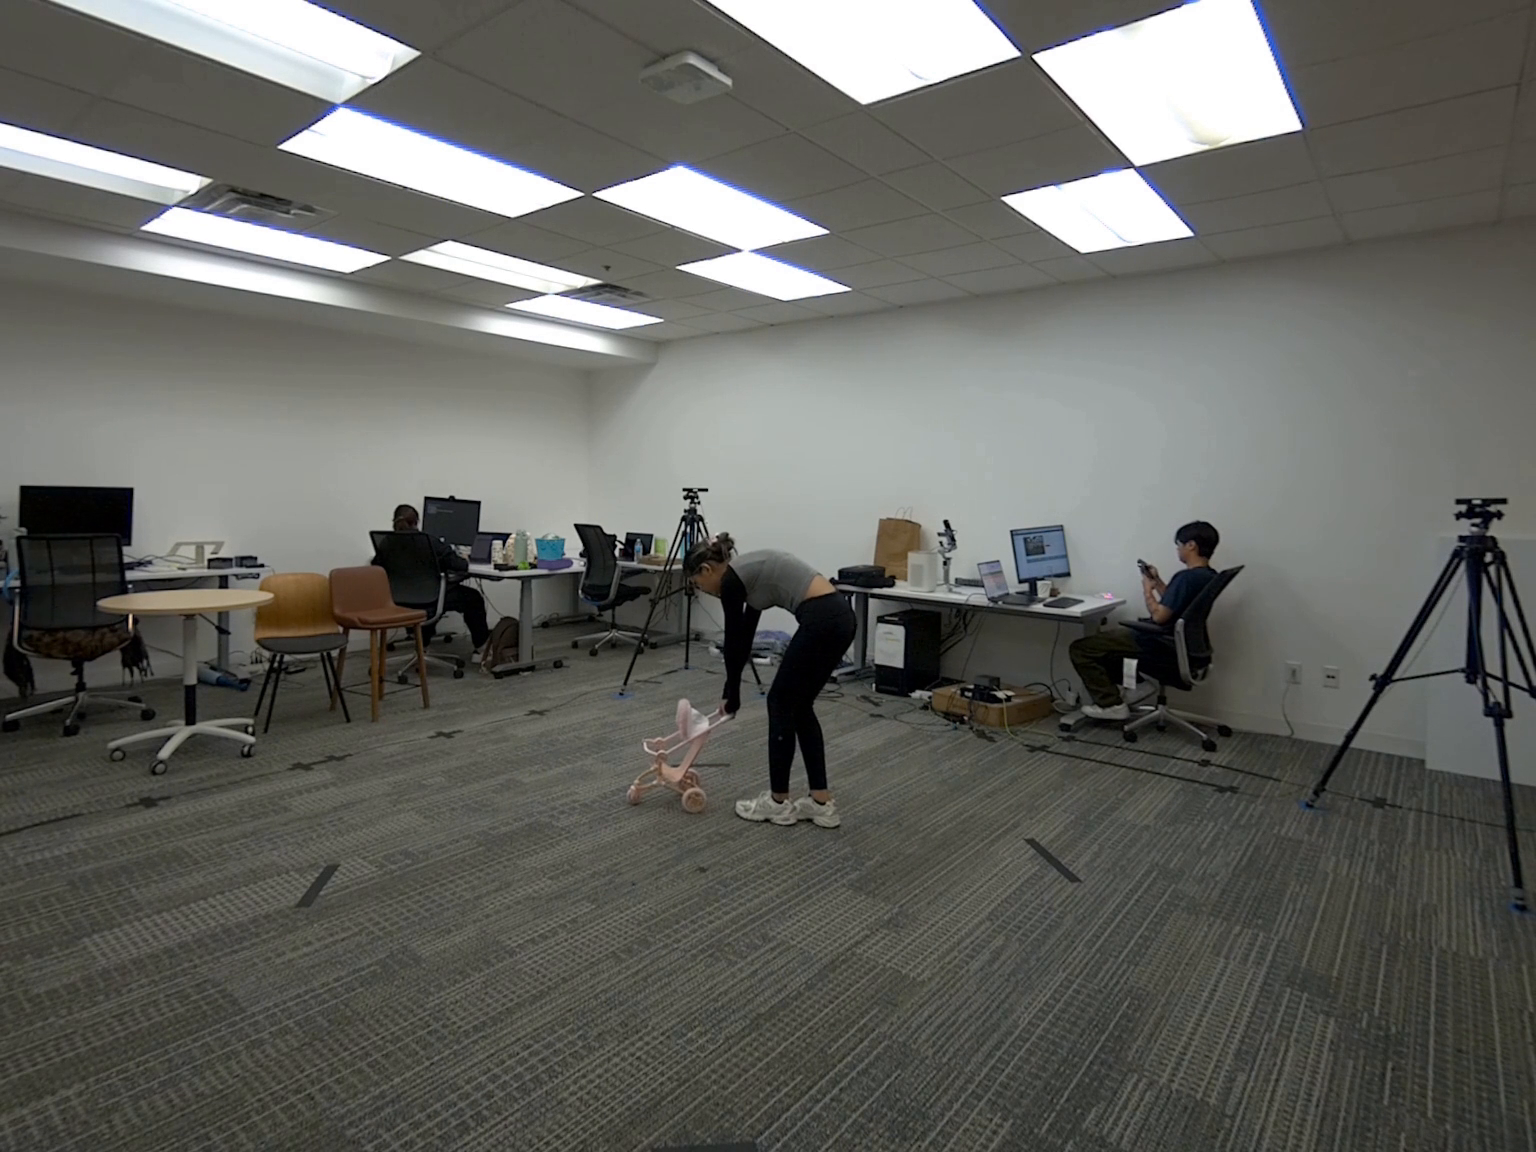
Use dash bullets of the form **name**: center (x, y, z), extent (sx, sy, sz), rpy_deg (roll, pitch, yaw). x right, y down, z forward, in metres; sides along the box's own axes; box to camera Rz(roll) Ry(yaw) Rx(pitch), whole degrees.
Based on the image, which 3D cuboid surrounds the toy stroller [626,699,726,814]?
- **toy stroller**: center (-0.407, 0.781, 3.766), extent (0.339, 0.534, 0.283), rpy_deg (17, 2, -5)
